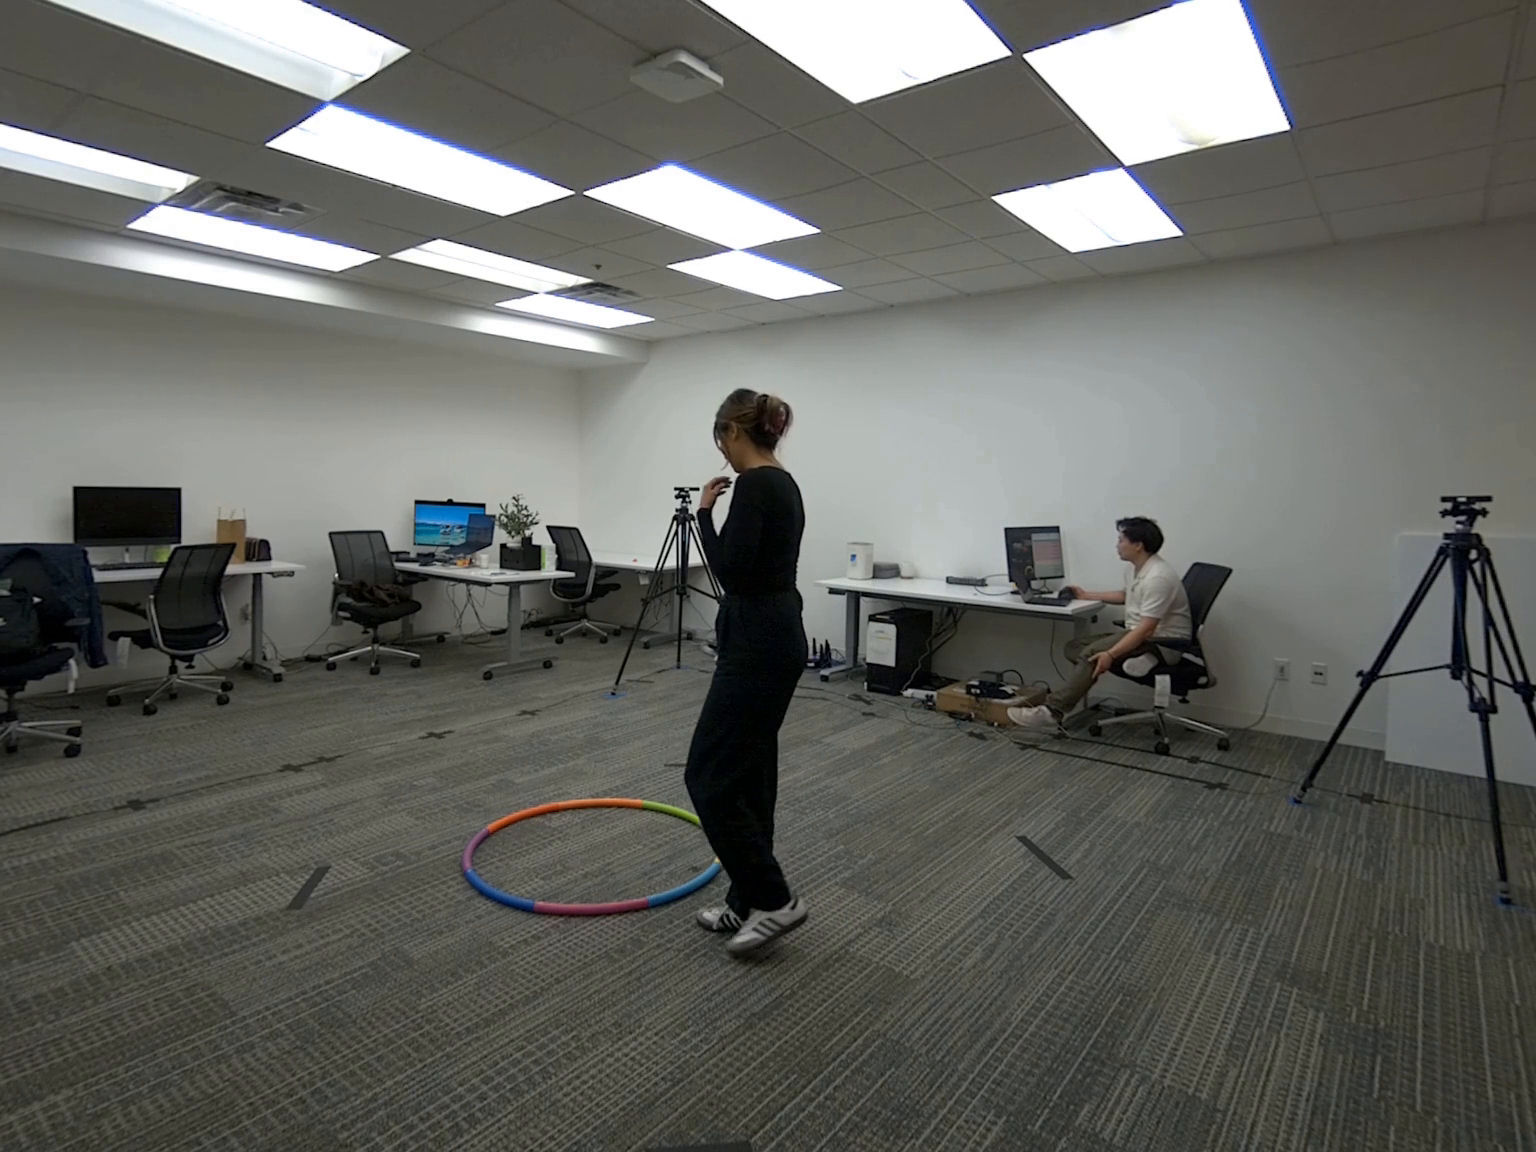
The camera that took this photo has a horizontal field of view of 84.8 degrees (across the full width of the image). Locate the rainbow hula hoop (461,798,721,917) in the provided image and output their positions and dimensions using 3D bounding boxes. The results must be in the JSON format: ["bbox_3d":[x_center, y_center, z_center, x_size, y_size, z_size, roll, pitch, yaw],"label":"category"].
[{"bbox_3d":[-0.658,1.020,3.224,0.978,0.035,0.984,1,6,-2],"label":"rainbow hula hoop"}]
